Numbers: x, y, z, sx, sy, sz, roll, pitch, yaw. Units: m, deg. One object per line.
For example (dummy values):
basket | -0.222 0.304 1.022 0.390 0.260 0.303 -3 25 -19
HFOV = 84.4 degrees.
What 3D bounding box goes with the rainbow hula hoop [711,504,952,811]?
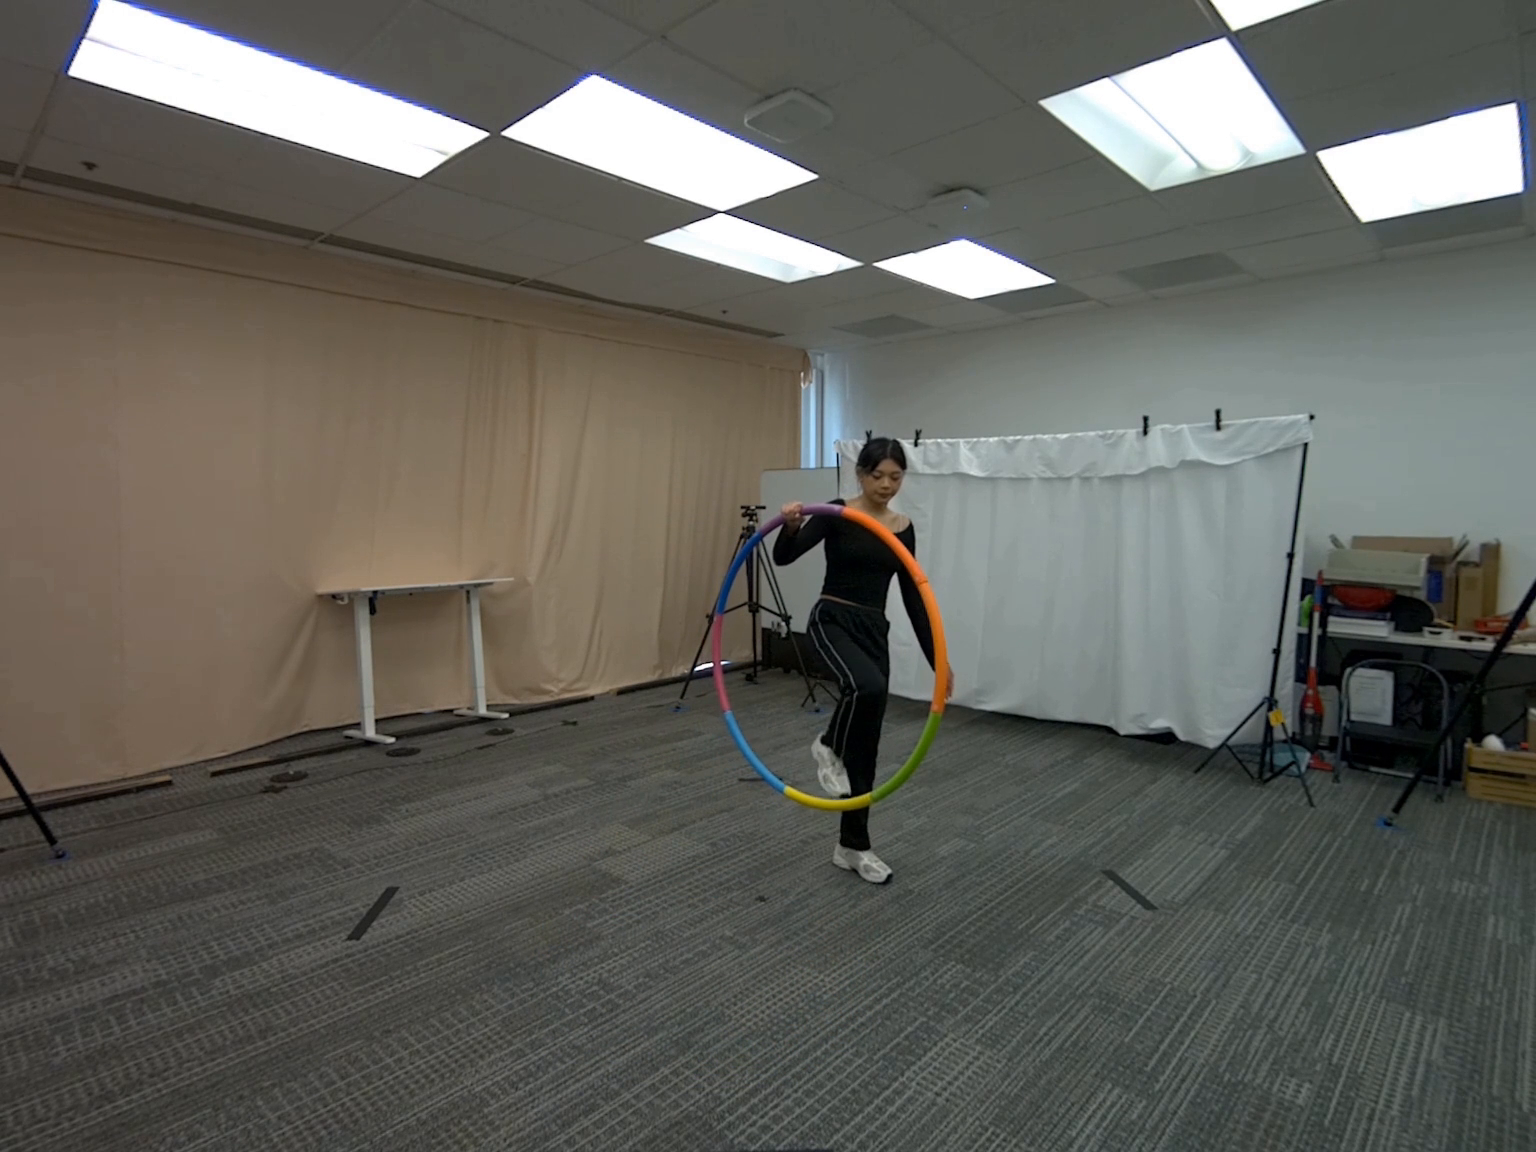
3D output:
rainbow hula hoop | 0.158 0.254 2.769 0.034 0.978 1.011 3 1 -45
